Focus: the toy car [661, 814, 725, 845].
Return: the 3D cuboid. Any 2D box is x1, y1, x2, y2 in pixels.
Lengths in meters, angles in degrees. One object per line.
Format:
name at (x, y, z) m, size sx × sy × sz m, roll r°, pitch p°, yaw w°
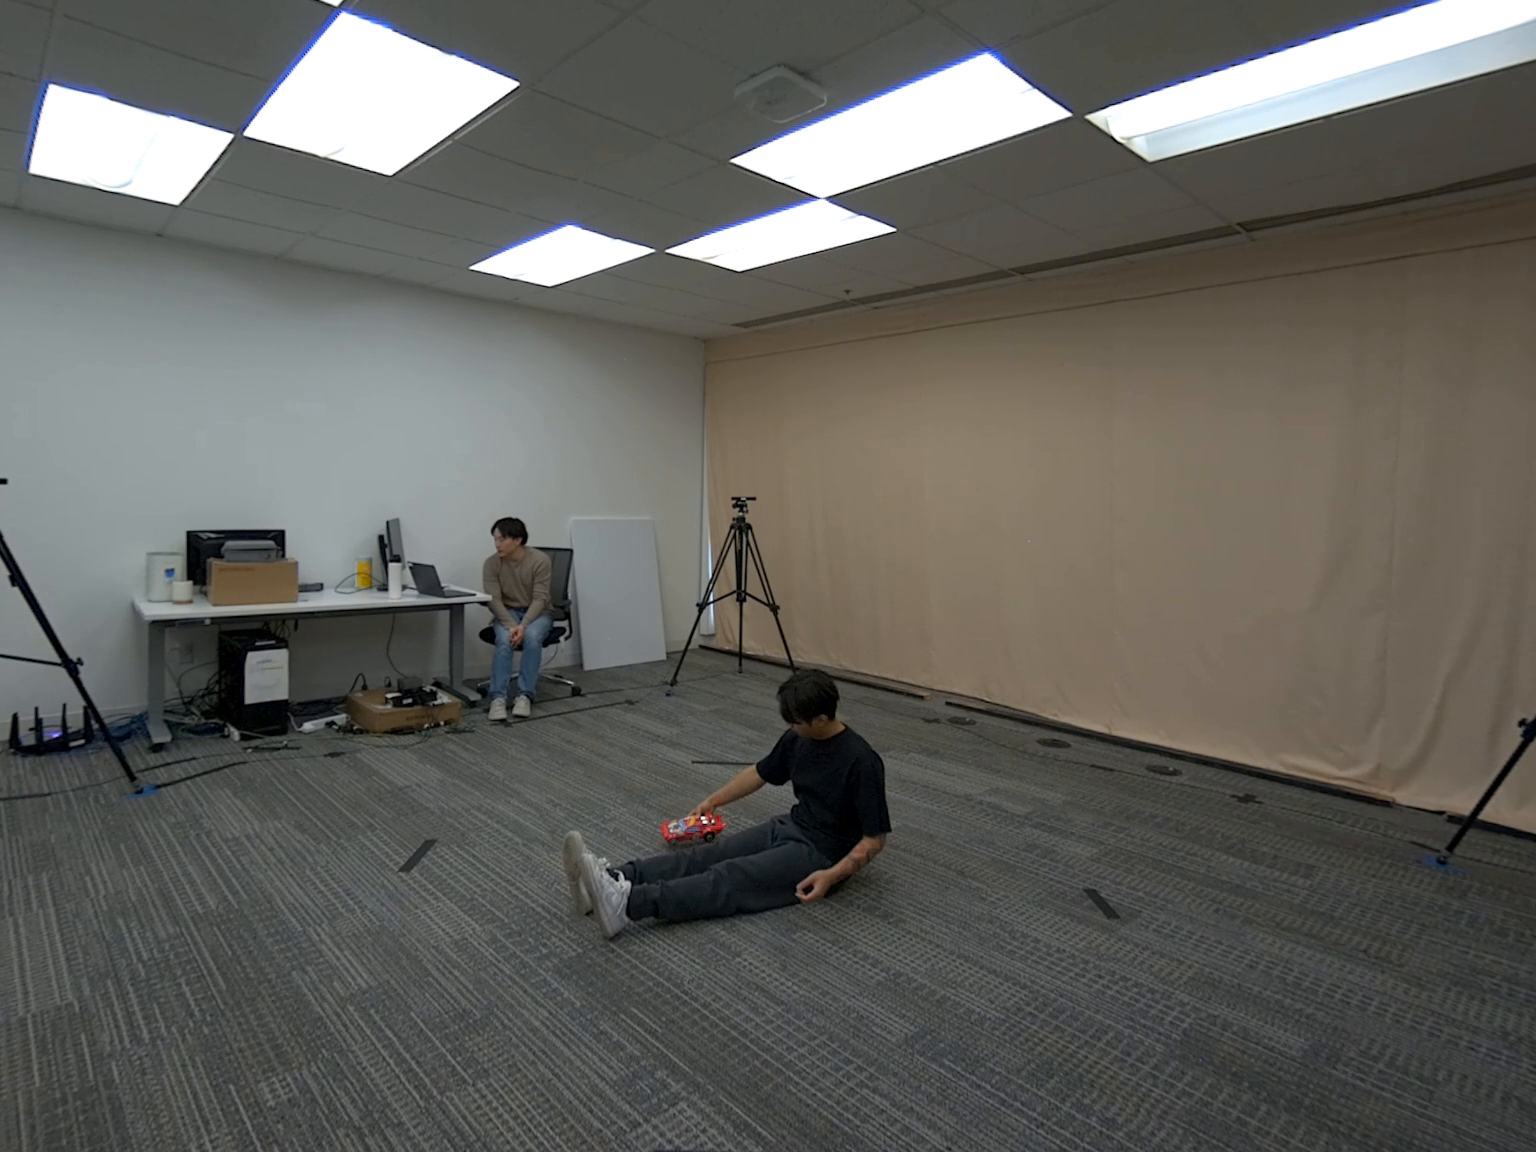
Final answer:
toy car at (-0.300, 1.000, 3.351) m, size 0.253 × 0.082 × 0.133 m, roll -11°, pitch 19°, yaw -7°
